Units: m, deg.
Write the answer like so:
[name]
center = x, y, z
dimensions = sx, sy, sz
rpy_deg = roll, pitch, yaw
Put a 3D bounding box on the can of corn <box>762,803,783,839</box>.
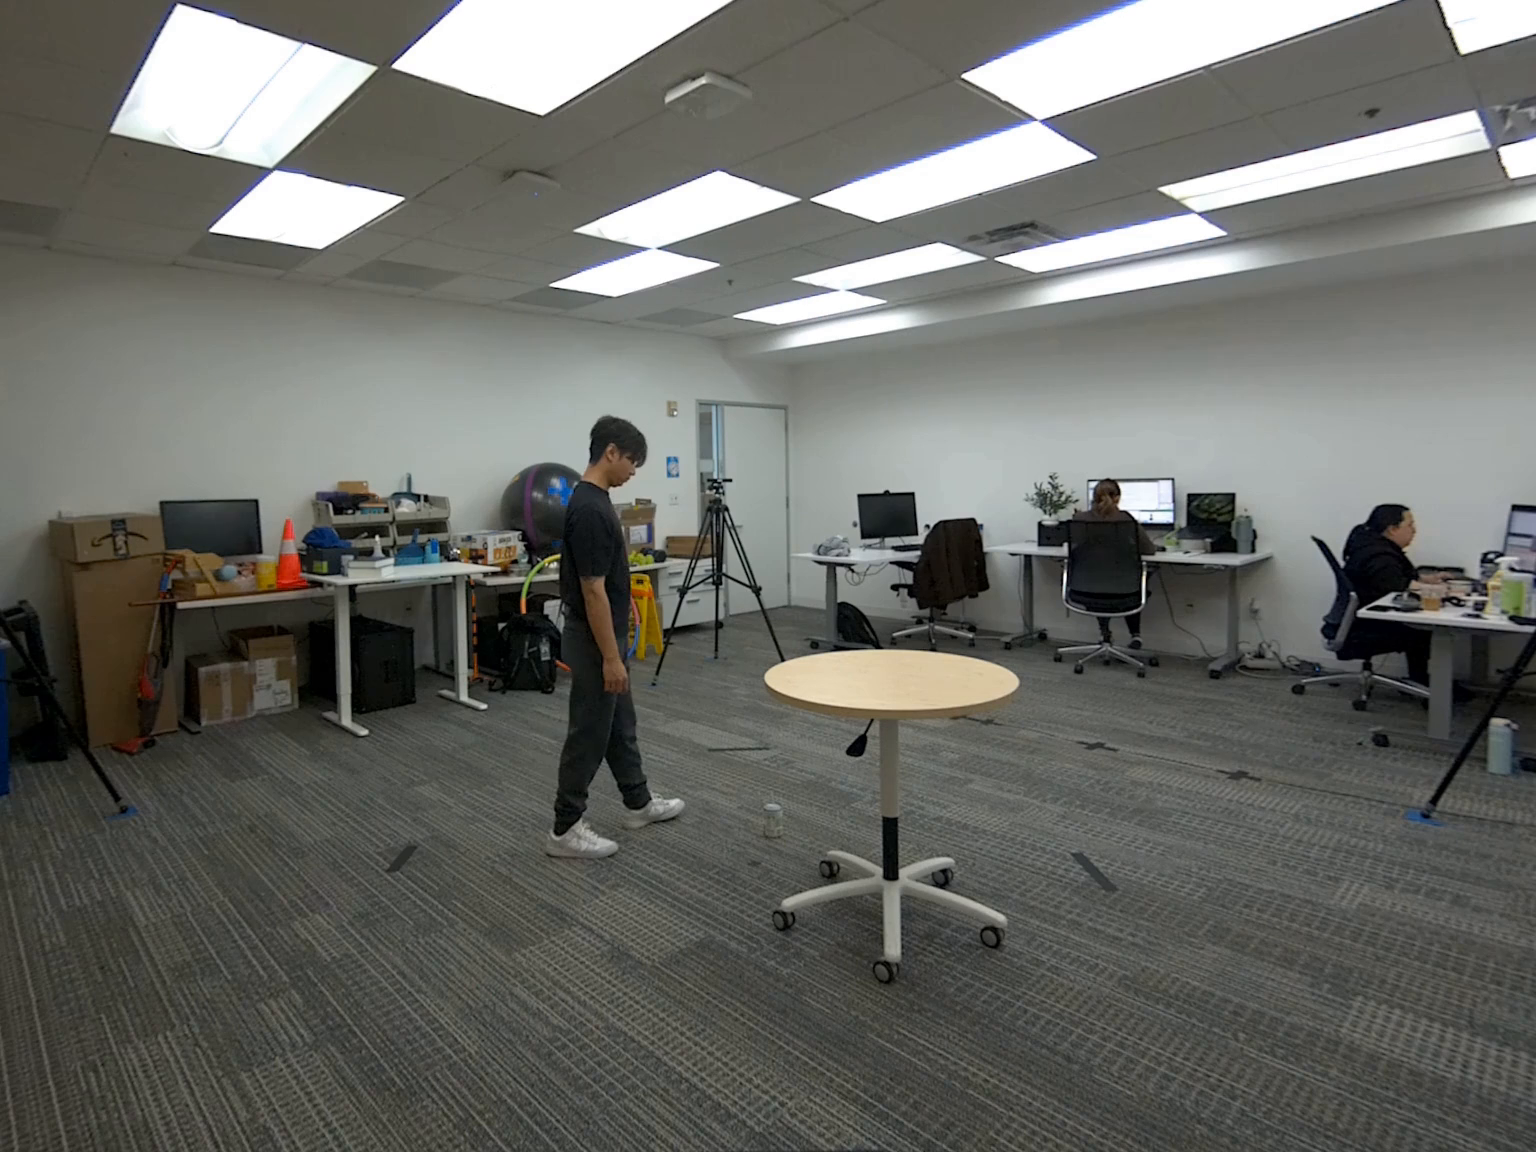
[can of corn]
center = 0.023, 0.962, 3.349
dimensions = 0.074, 0.111, 0.074
rpy_deg = -2, 4, -2
